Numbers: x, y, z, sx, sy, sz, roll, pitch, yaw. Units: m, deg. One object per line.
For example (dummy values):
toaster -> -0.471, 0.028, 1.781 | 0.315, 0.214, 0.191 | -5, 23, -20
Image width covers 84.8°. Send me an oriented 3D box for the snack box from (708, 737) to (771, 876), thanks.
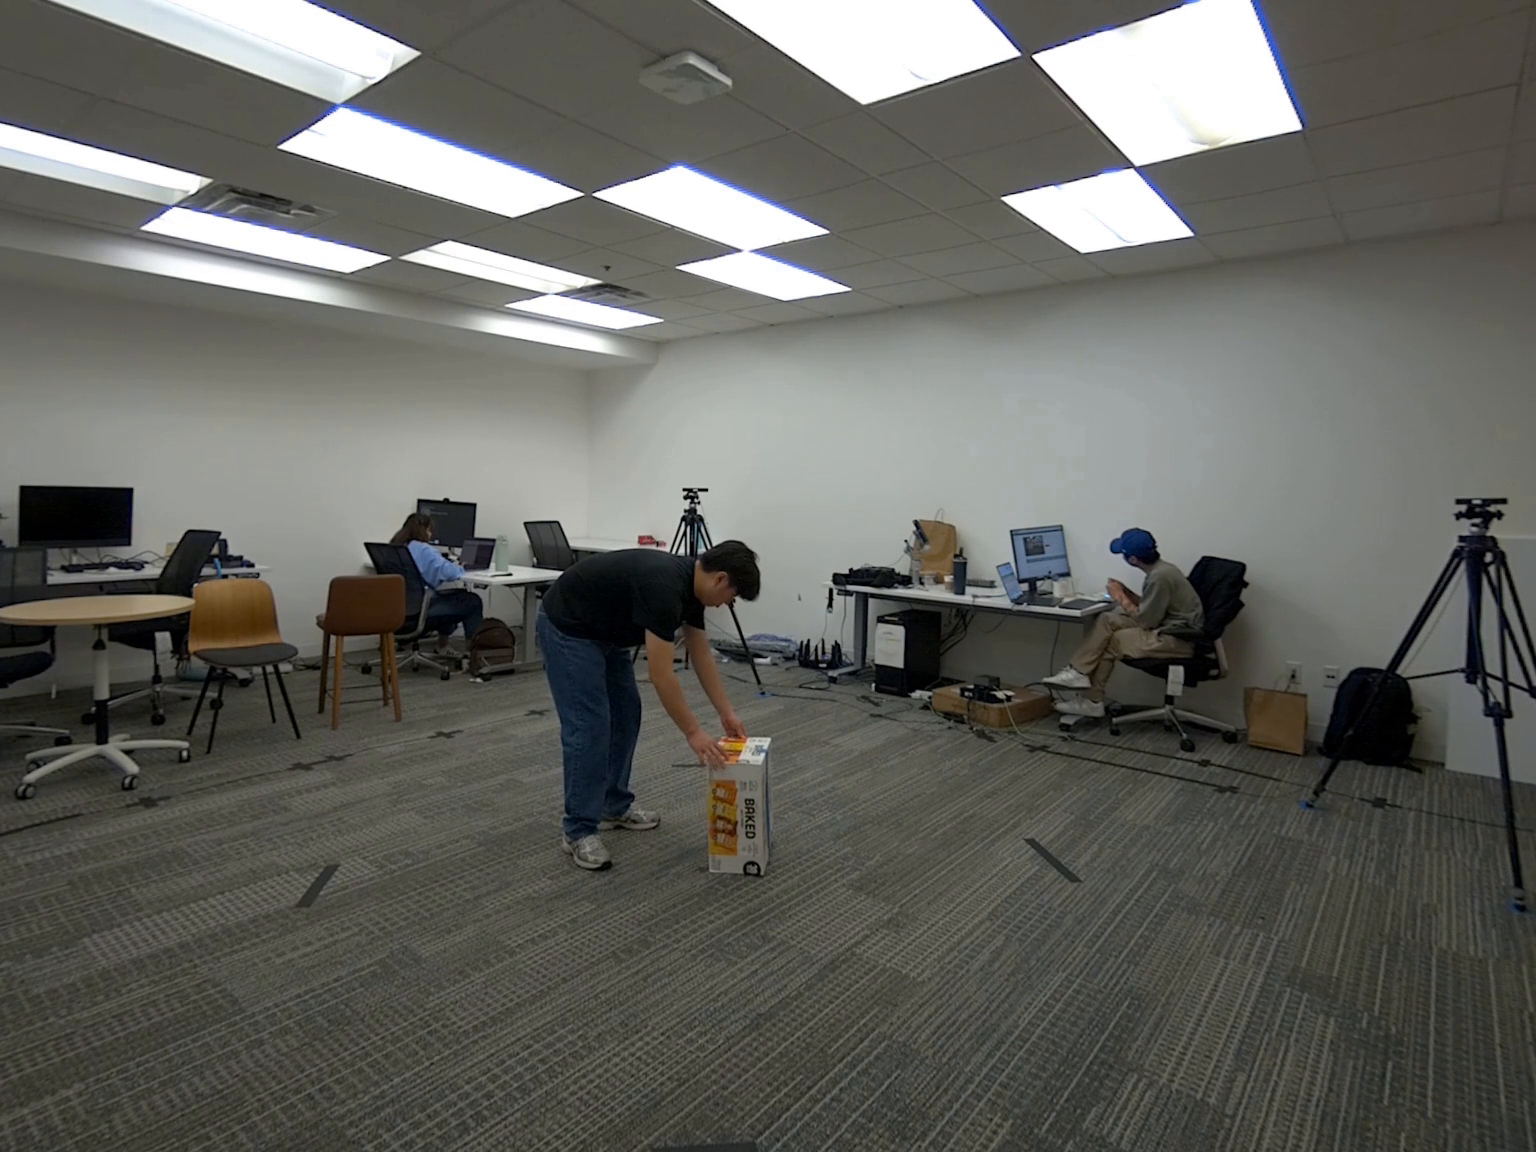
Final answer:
snack box -> -0.108, 0.855, 3.224 | 0.208, 0.404, 0.338 | -1, 4, 8
